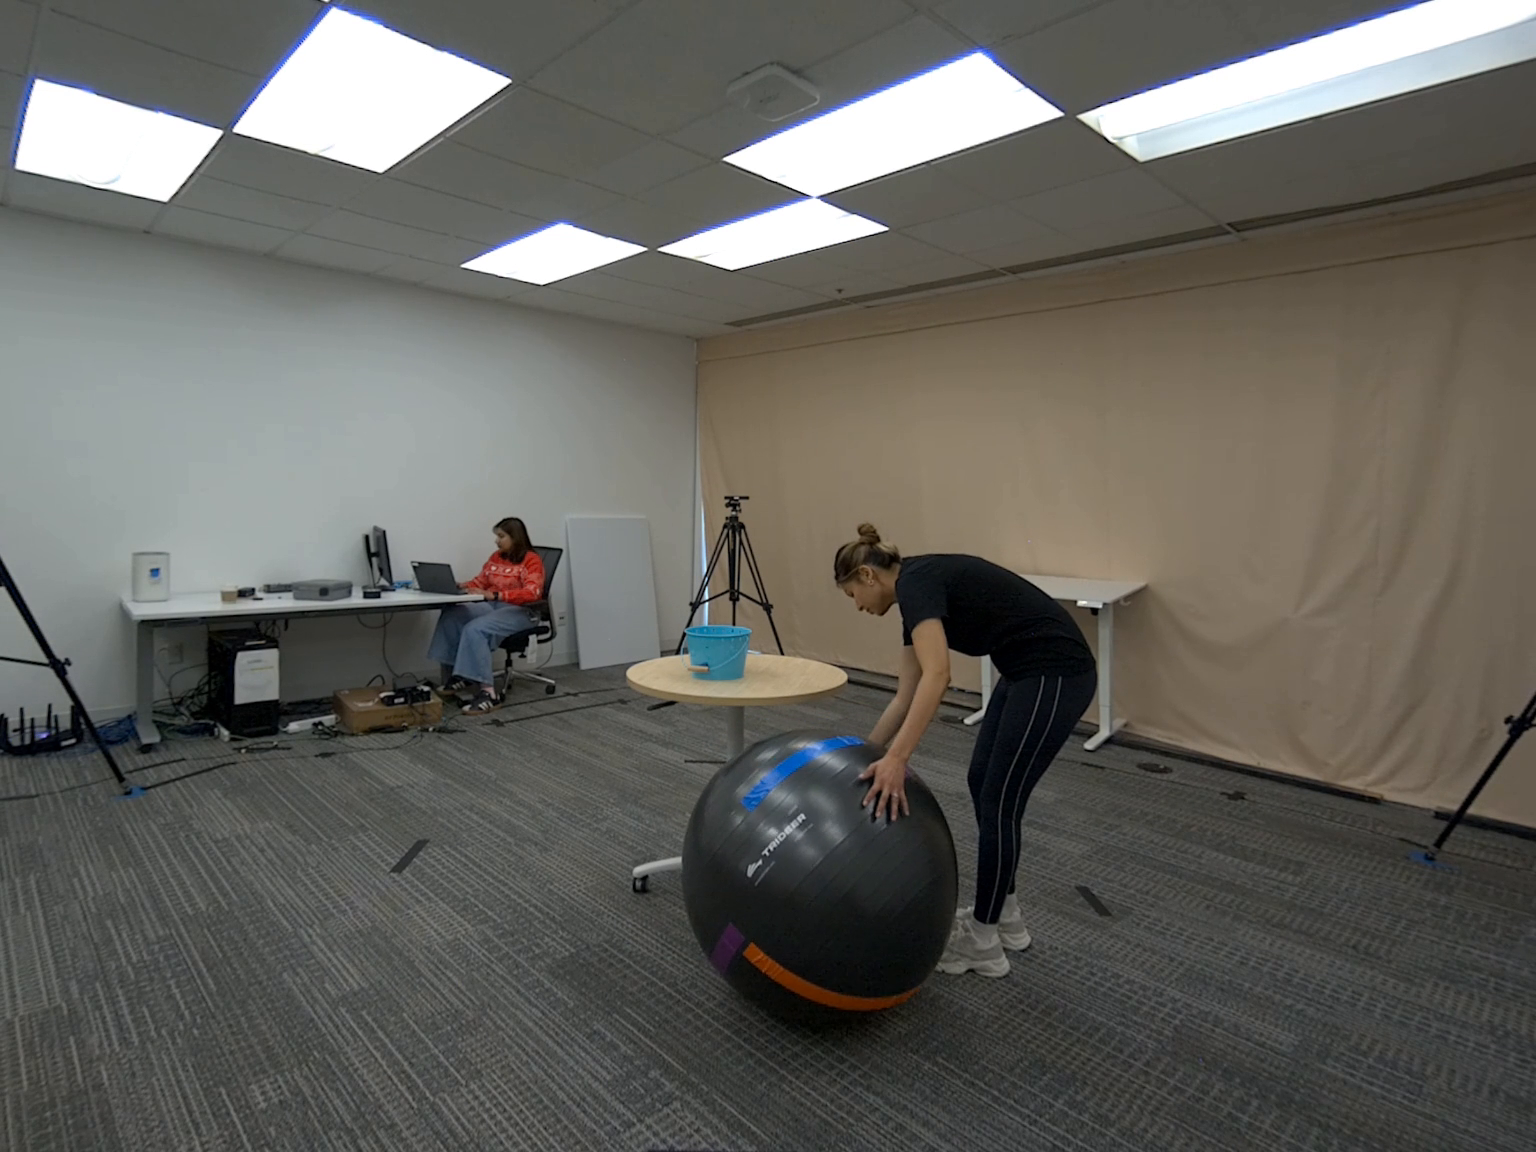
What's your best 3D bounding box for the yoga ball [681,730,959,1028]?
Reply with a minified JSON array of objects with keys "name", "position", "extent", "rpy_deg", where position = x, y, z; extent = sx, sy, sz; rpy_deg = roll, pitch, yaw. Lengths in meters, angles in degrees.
[{"name":"yoga ball","position":[0.134,0.813,2.321],"extent":[0.757,0.756,0.761],"rpy_deg":[1,4,-1]}]
